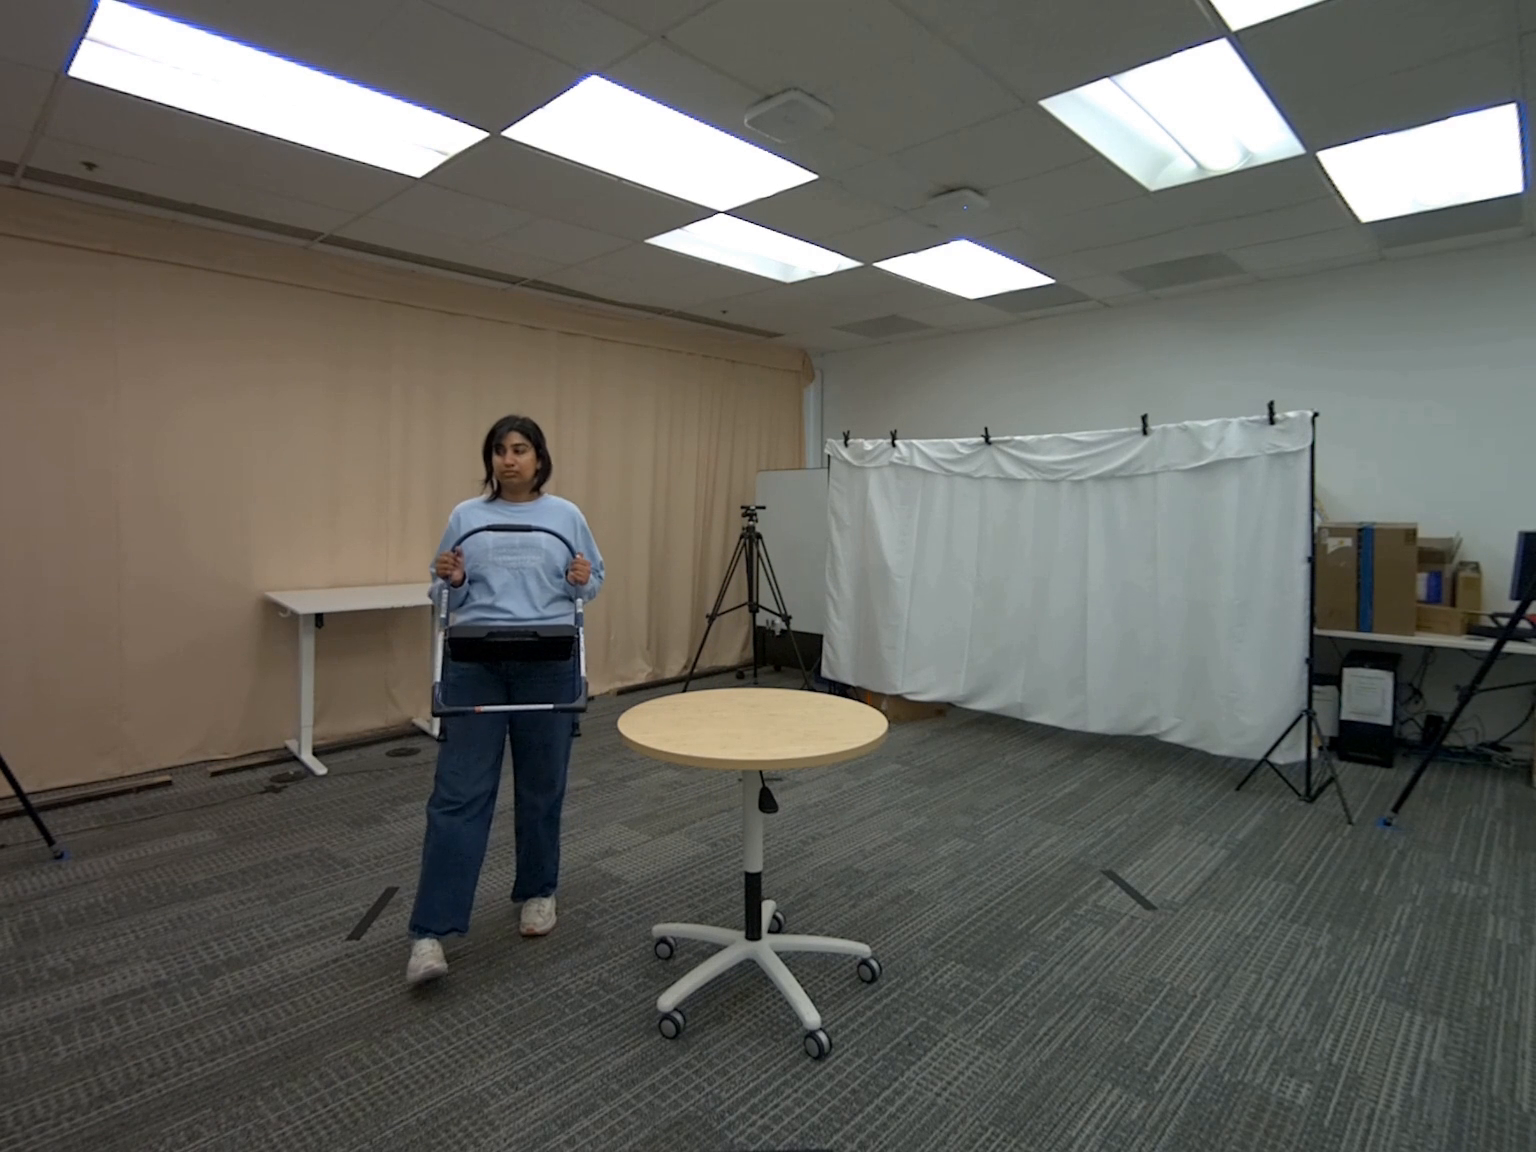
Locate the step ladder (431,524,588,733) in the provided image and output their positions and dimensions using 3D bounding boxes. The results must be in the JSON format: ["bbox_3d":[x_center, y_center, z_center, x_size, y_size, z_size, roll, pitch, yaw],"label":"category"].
[{"bbox_3d":[-0.769,0.150,2.535,0.424,0.615,0.349,0,-23,-16],"label":"step ladder"}]
